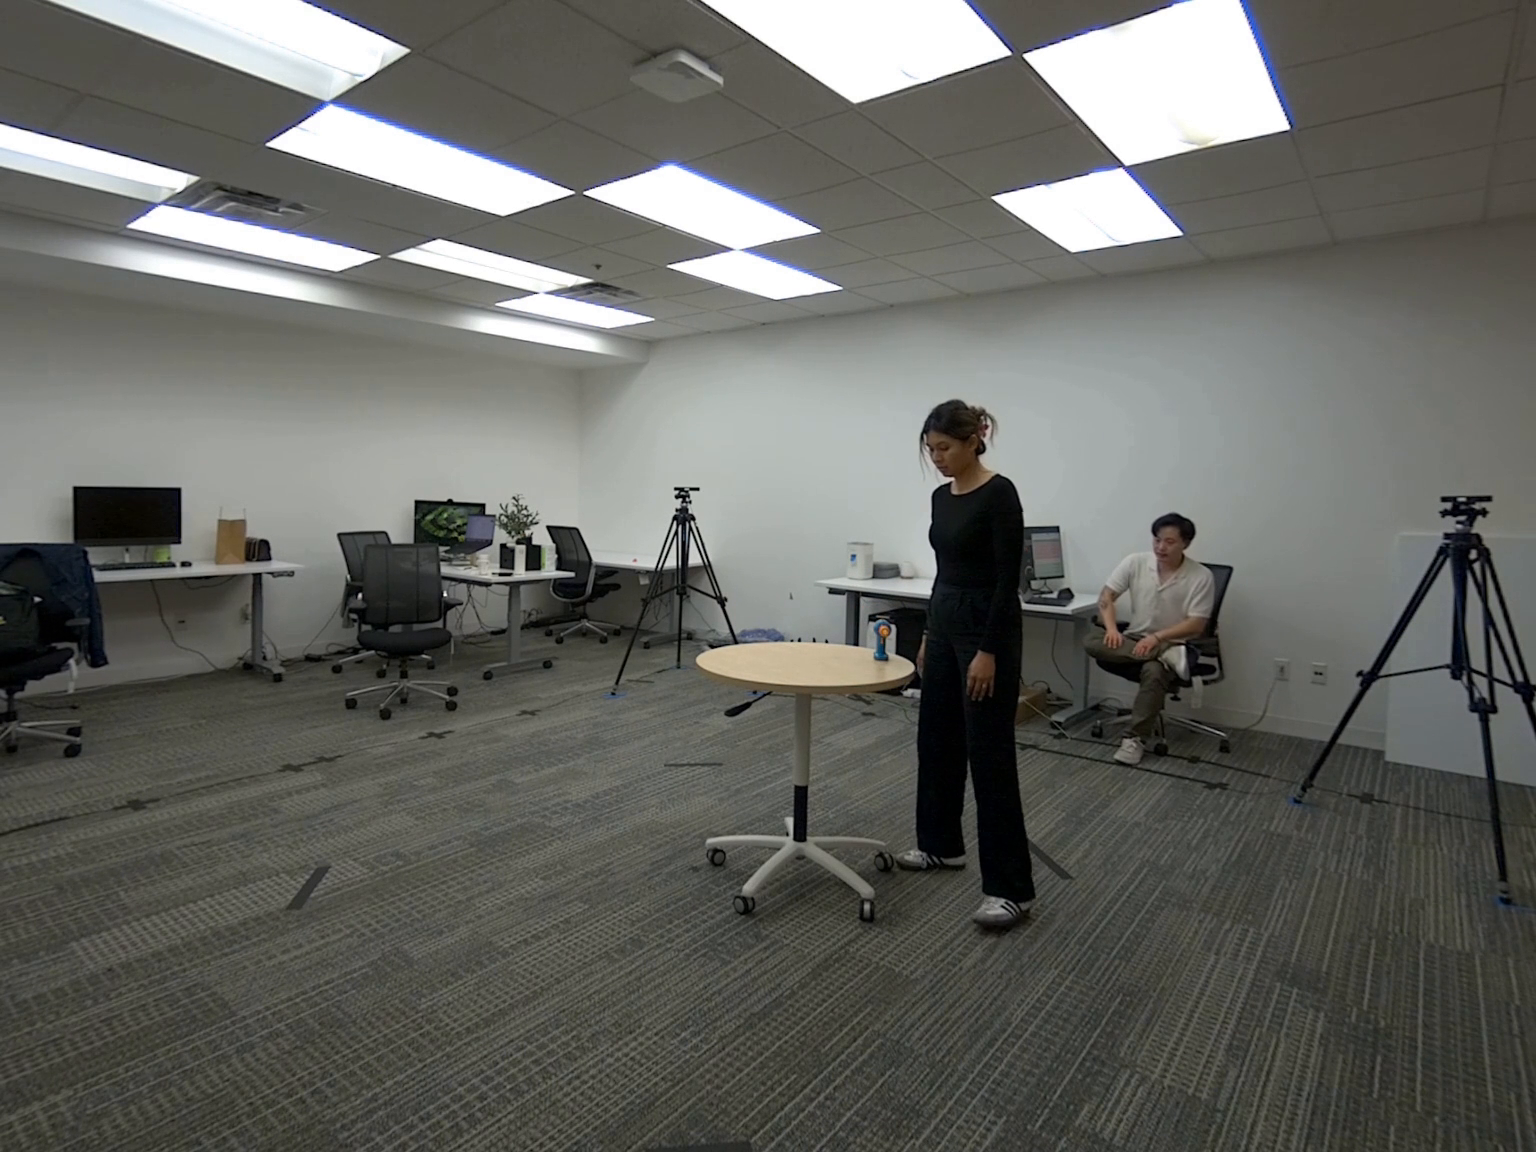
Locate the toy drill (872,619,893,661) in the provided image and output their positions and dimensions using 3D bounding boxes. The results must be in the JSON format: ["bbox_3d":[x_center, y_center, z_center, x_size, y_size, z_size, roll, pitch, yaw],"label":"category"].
[{"bbox_3d":[0.406,0.228,3.037,0.061,0.145,0.171,2,4,-5],"label":"toy drill"}]
